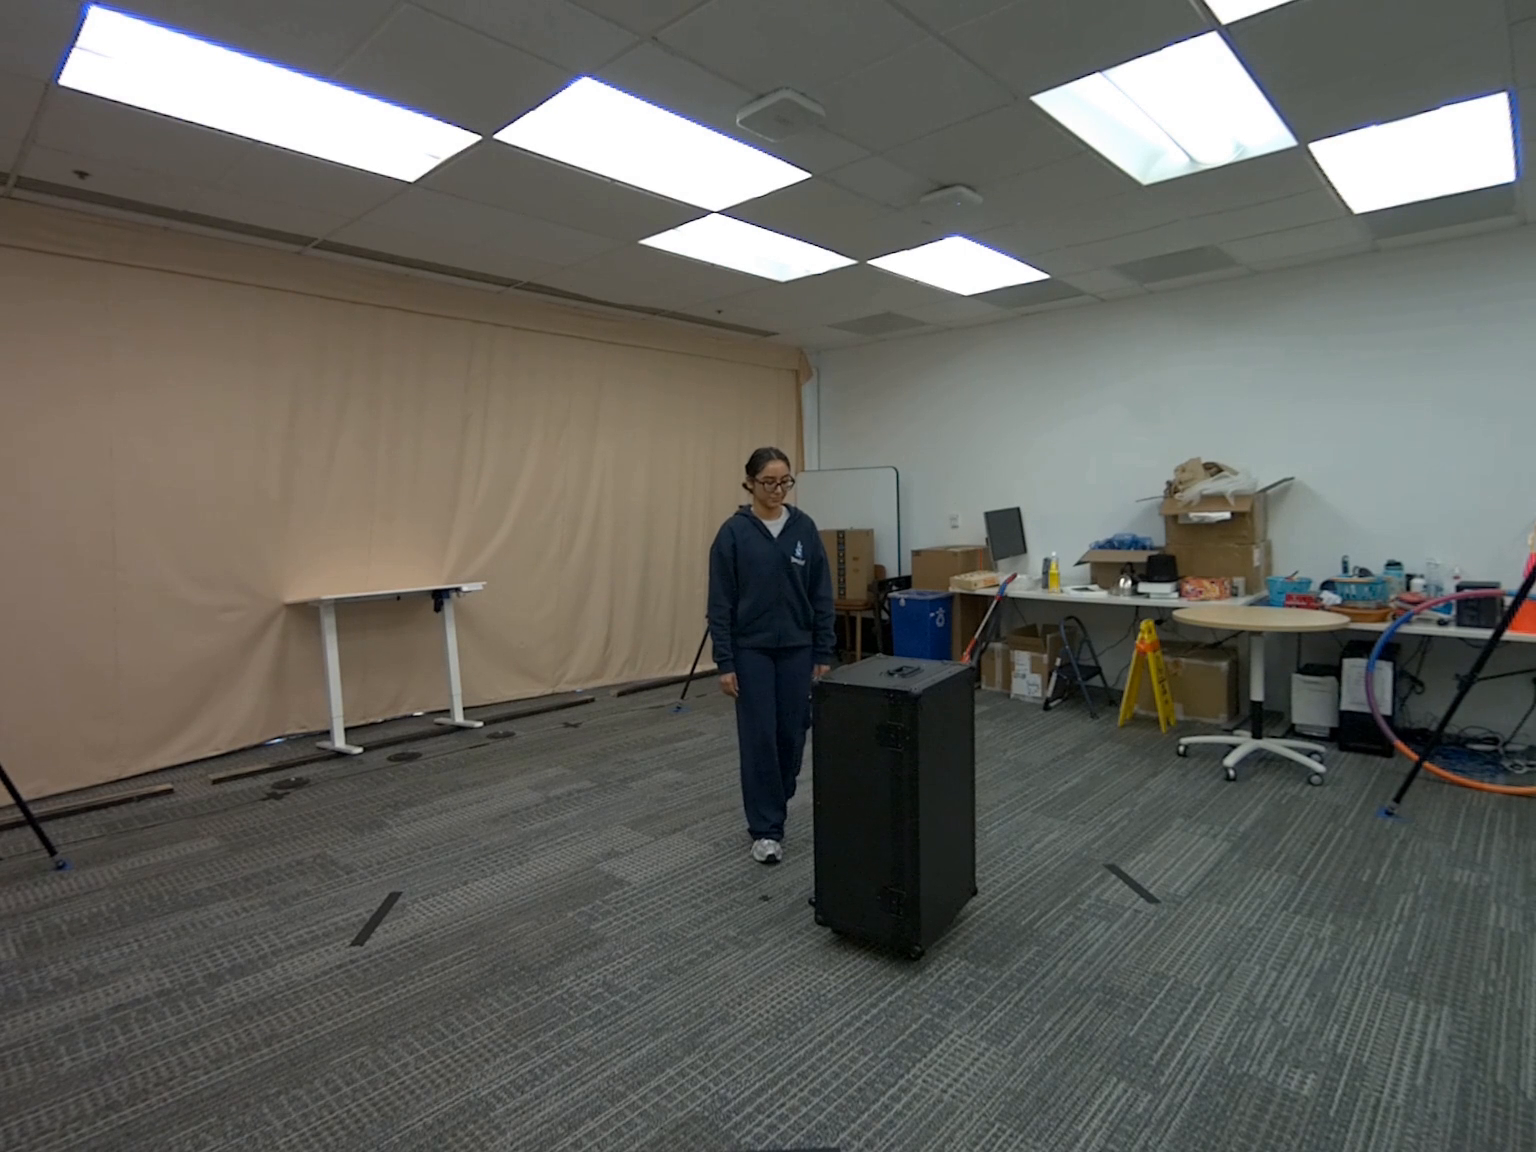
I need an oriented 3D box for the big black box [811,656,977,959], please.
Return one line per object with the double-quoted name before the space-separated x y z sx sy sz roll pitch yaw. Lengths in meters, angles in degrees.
"big black box" 0.429 0.738 2.734 0.537 0.860 0.385 1 3 35
